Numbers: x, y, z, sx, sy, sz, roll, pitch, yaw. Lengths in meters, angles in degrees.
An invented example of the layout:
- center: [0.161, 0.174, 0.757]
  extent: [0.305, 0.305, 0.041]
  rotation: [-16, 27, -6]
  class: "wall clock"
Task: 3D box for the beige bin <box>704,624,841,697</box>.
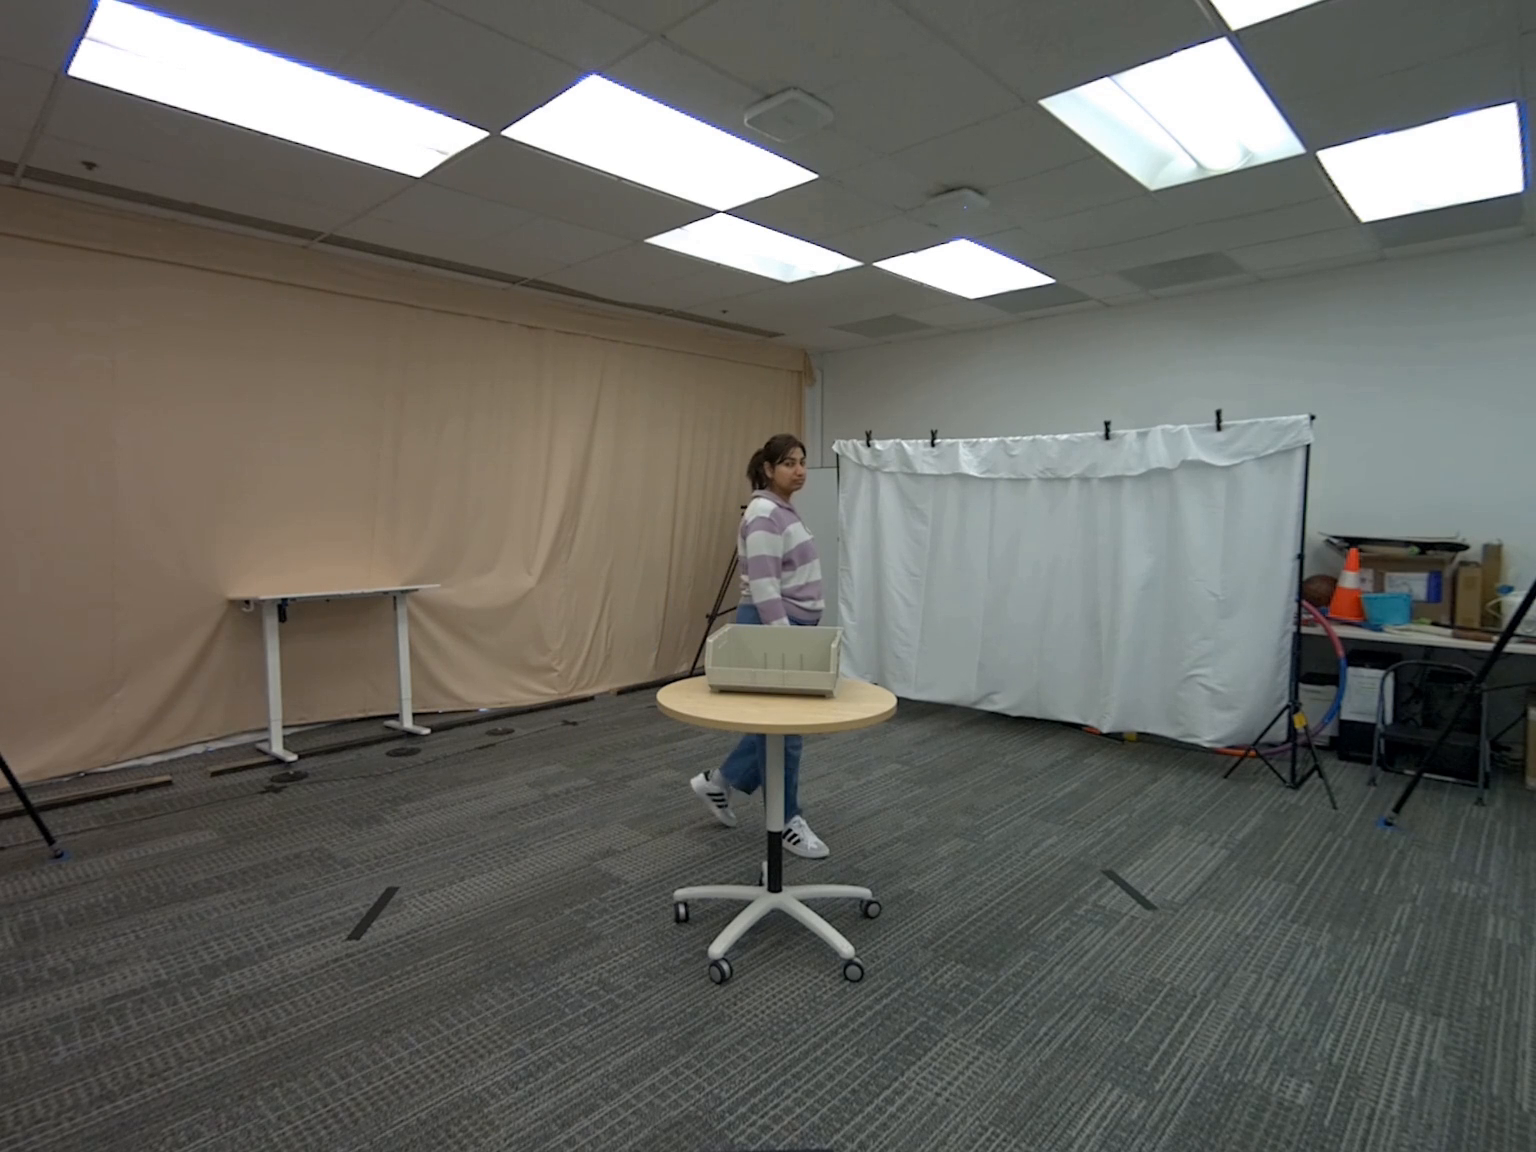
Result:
- center: [0.034, 0.283, 2.836]
  extent: [0.427, 0.189, 0.373]
  rotation: [1, 3, 10]
  class: "beige bin"
